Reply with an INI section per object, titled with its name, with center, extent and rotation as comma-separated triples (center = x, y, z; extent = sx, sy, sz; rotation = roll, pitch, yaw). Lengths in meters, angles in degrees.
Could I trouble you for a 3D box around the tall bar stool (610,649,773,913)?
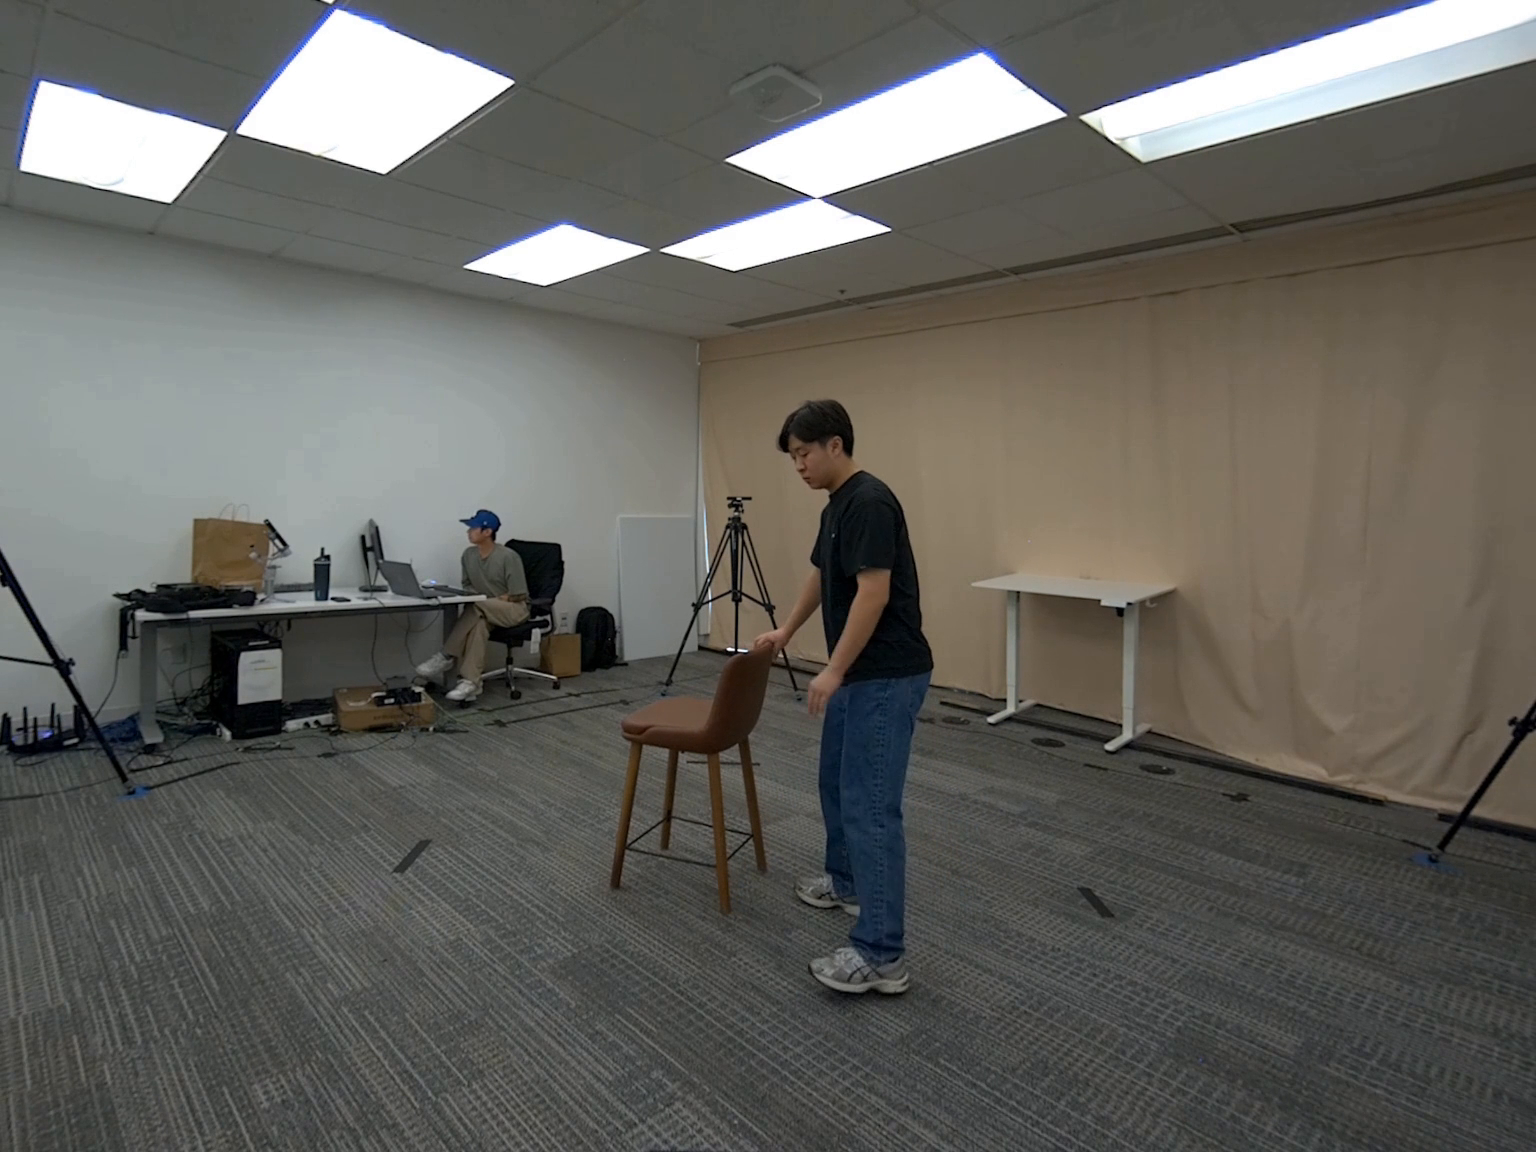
[tall bar stool]
center = -0.263, 0.674, 3.048
extent = 0.476, 0.887, 0.449
rotation = 5, 5, 23
